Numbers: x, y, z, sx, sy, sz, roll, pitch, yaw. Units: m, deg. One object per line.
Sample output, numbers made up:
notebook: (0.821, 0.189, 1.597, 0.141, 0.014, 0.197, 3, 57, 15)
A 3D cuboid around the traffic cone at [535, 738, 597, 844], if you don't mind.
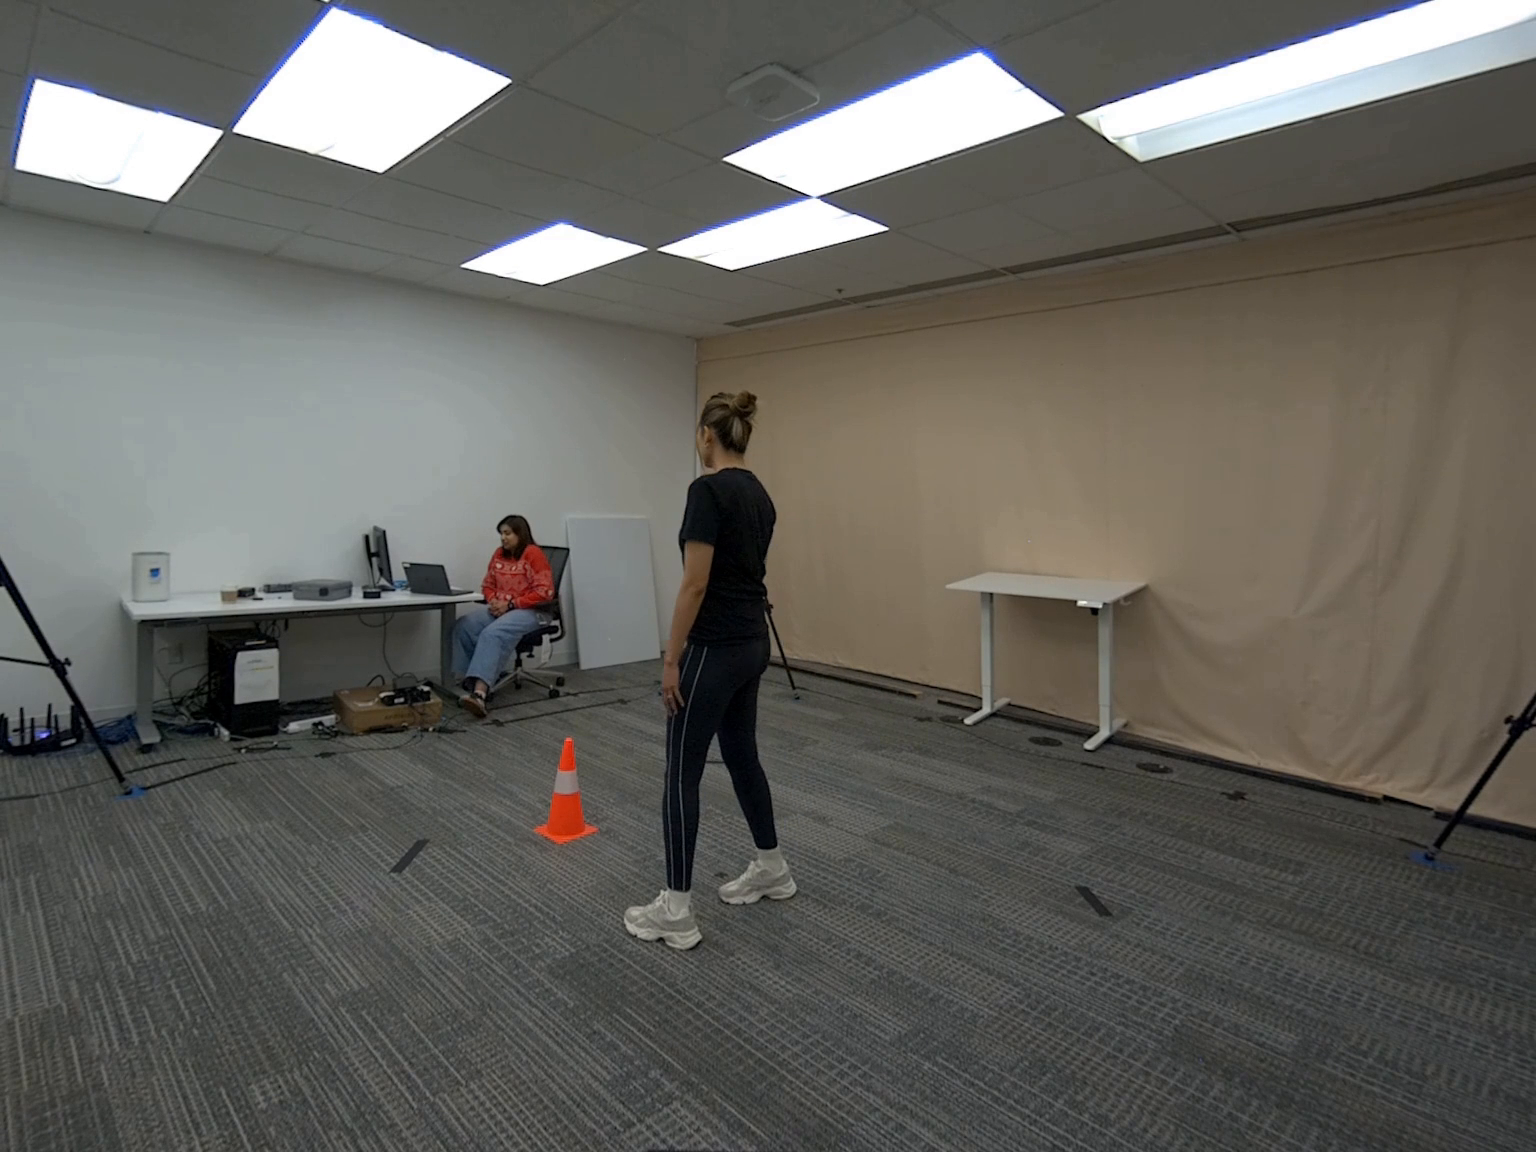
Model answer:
traffic cone: (-0.843, 0.869, 3.477, 0.199, 0.382, 0.210, -2, 6, -43)
